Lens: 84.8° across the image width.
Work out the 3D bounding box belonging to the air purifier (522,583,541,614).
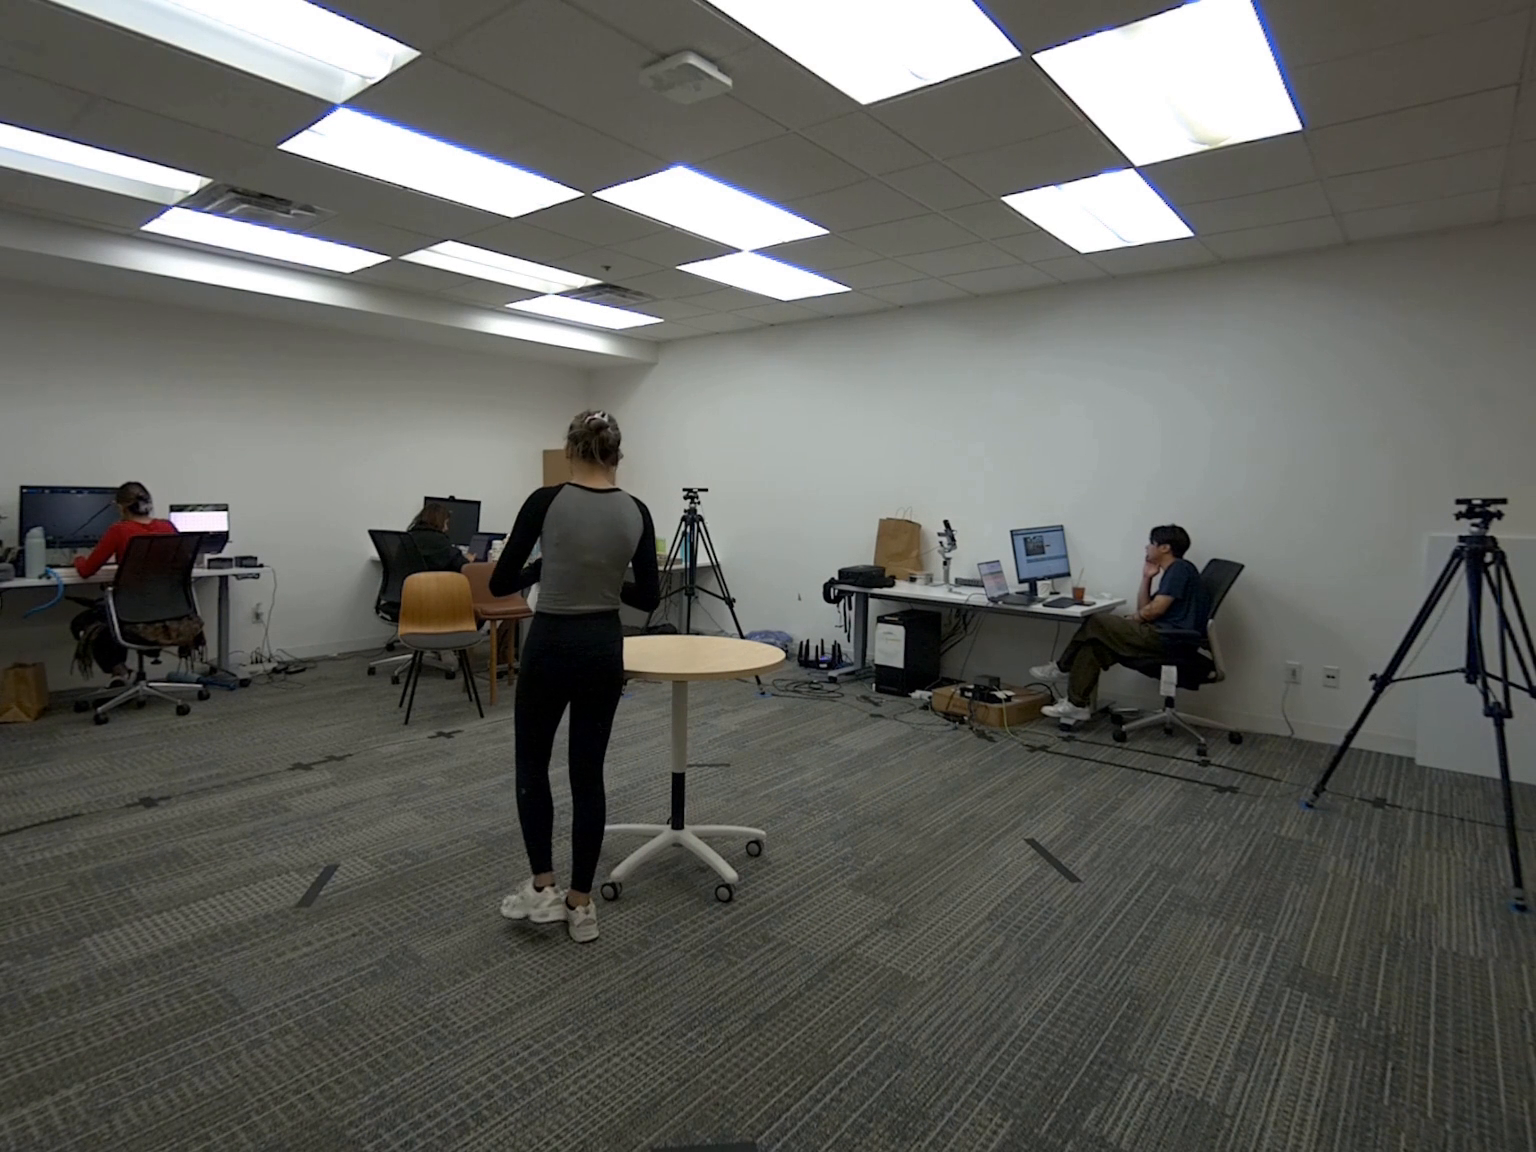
[{"bbox_3d":[-0.694,0.003,2.888,0.165,0.264,0.178,18,9,-29],"label":"air purifier"}]
